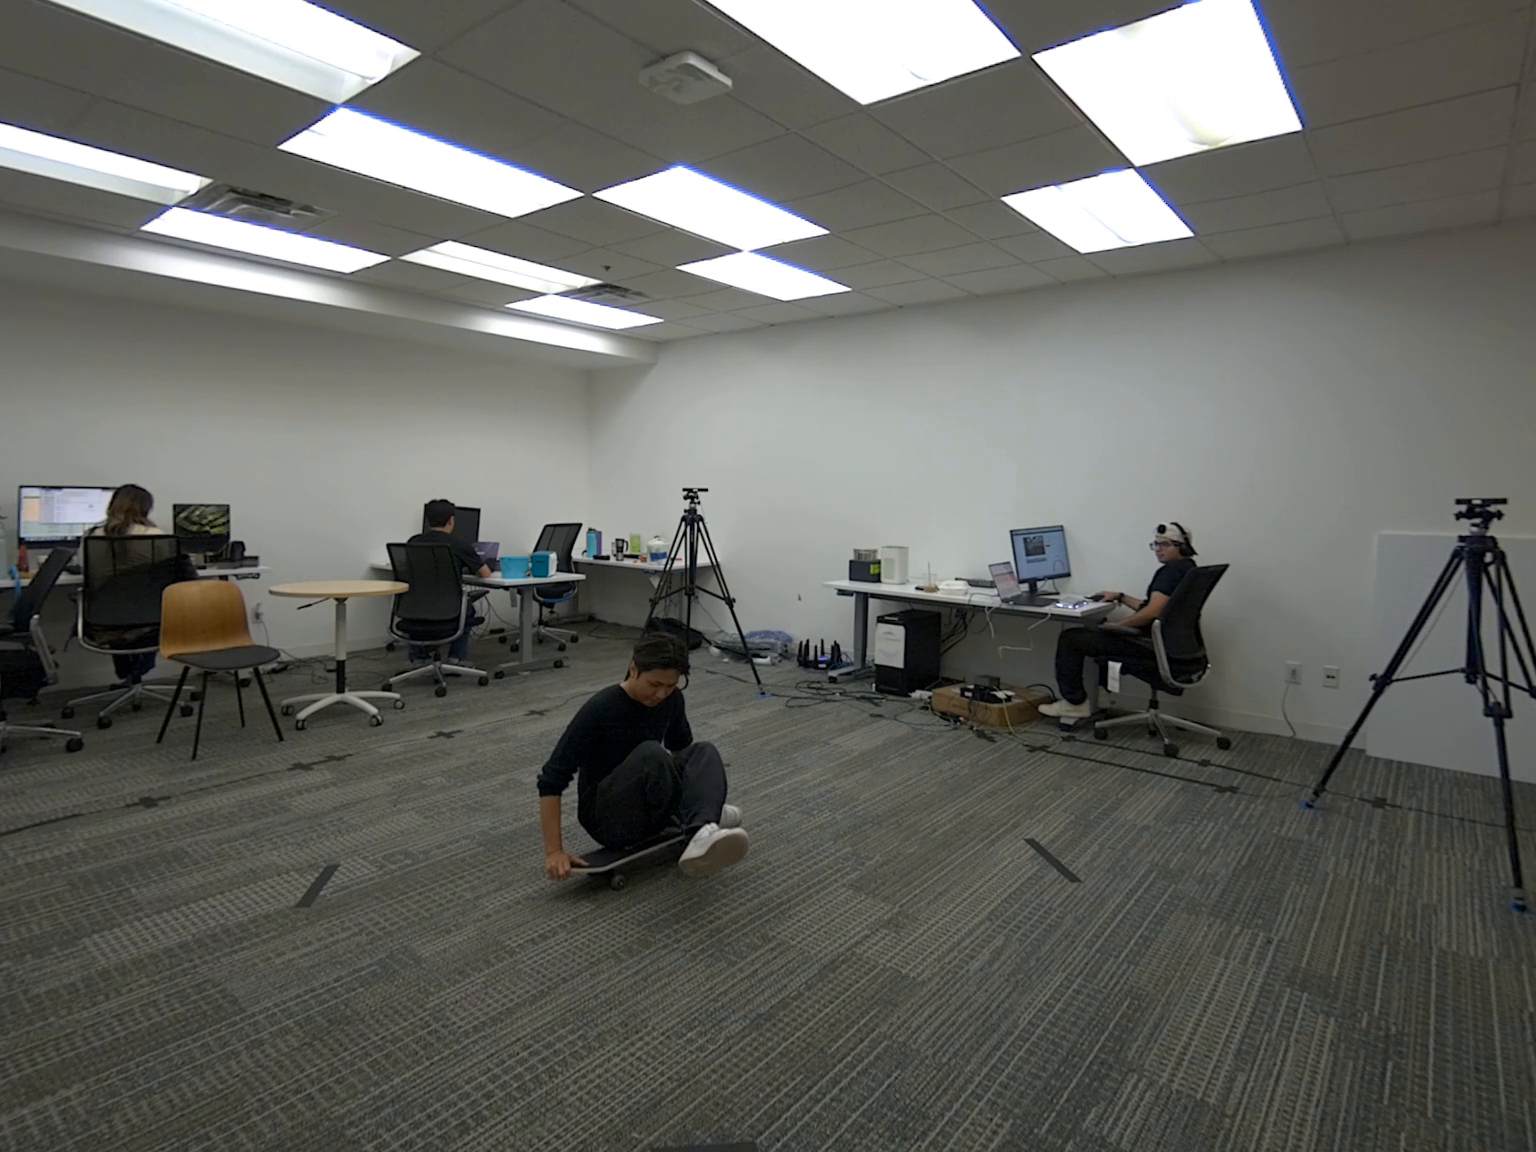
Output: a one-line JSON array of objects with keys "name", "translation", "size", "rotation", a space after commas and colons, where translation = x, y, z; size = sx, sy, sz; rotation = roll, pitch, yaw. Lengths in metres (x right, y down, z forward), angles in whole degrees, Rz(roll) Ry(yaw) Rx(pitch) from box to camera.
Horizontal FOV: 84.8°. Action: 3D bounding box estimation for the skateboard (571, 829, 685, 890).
[{"name": "skateboard", "translation": [-0.457, 1.016, 3.143], "size": [0.199, 0.110, 0.762], "rotation": [-5, 1, 43]}]
